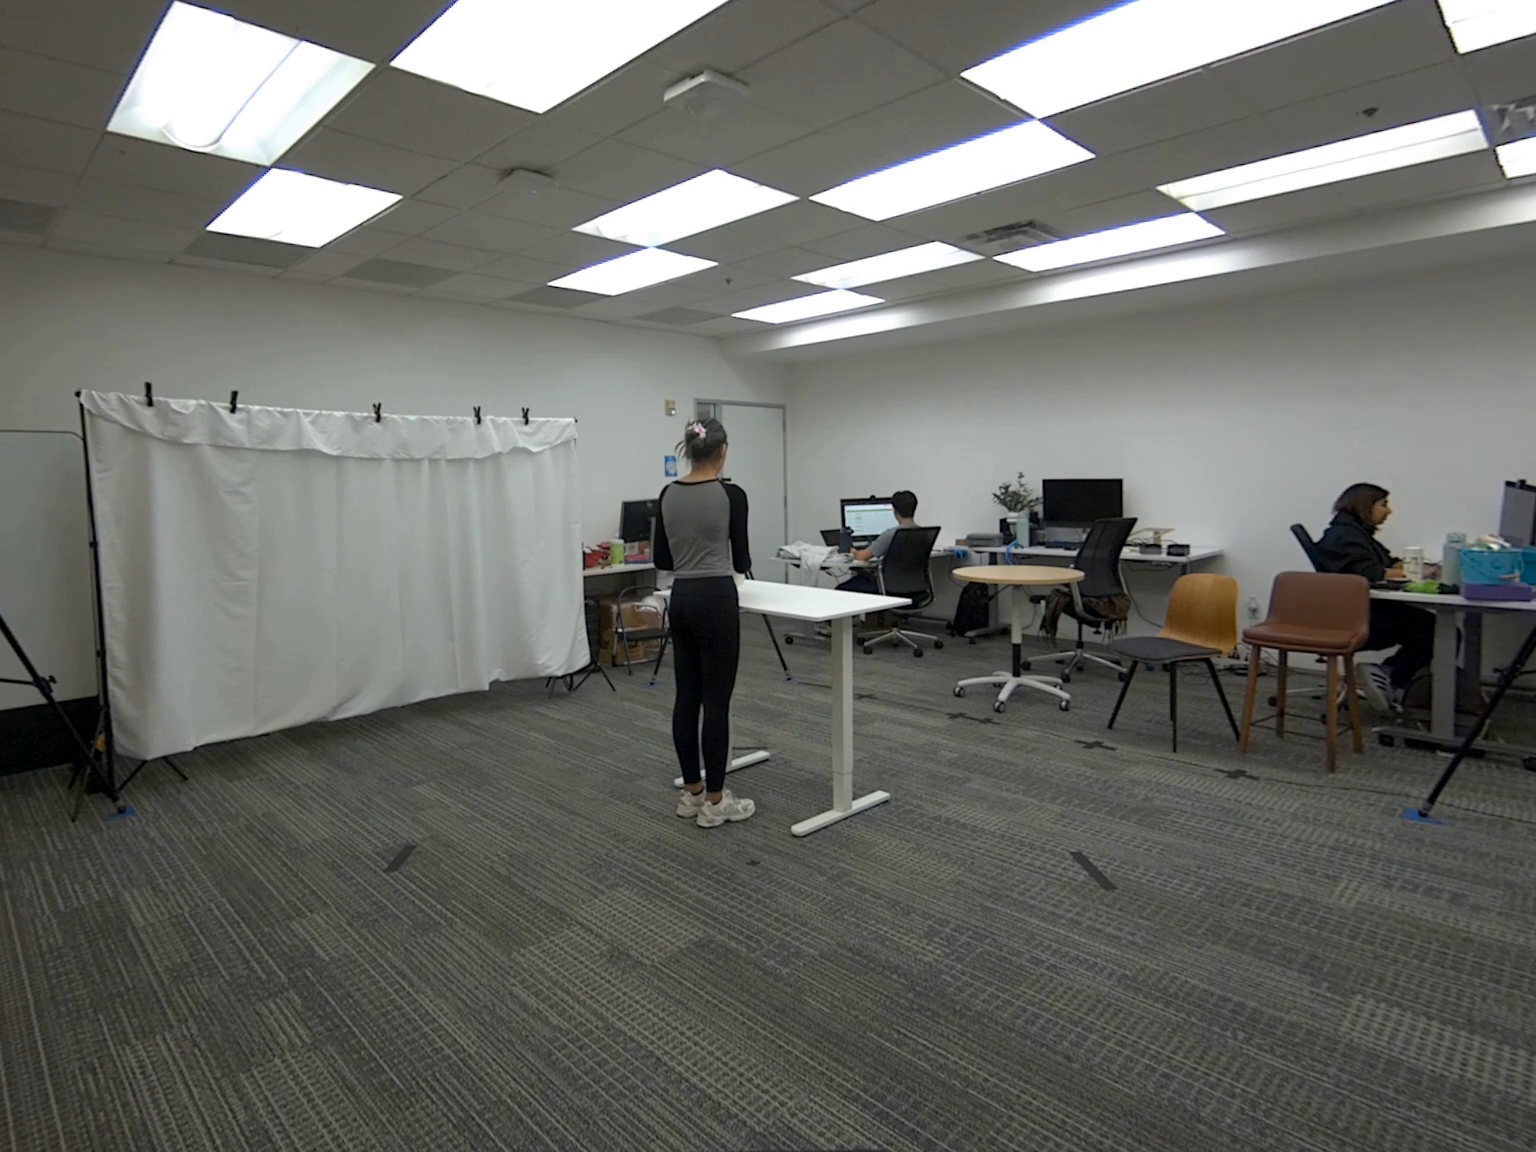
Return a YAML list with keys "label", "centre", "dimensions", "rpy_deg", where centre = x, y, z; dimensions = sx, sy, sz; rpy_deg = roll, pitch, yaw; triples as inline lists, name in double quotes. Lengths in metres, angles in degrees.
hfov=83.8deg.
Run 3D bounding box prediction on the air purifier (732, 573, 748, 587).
- label: "air purifier"
  centre: [-0.185, -0.081, 3.833]
  dimensions: [0.174, 0.263, 0.169]
  rpy_deg: [2, 8, 15]
